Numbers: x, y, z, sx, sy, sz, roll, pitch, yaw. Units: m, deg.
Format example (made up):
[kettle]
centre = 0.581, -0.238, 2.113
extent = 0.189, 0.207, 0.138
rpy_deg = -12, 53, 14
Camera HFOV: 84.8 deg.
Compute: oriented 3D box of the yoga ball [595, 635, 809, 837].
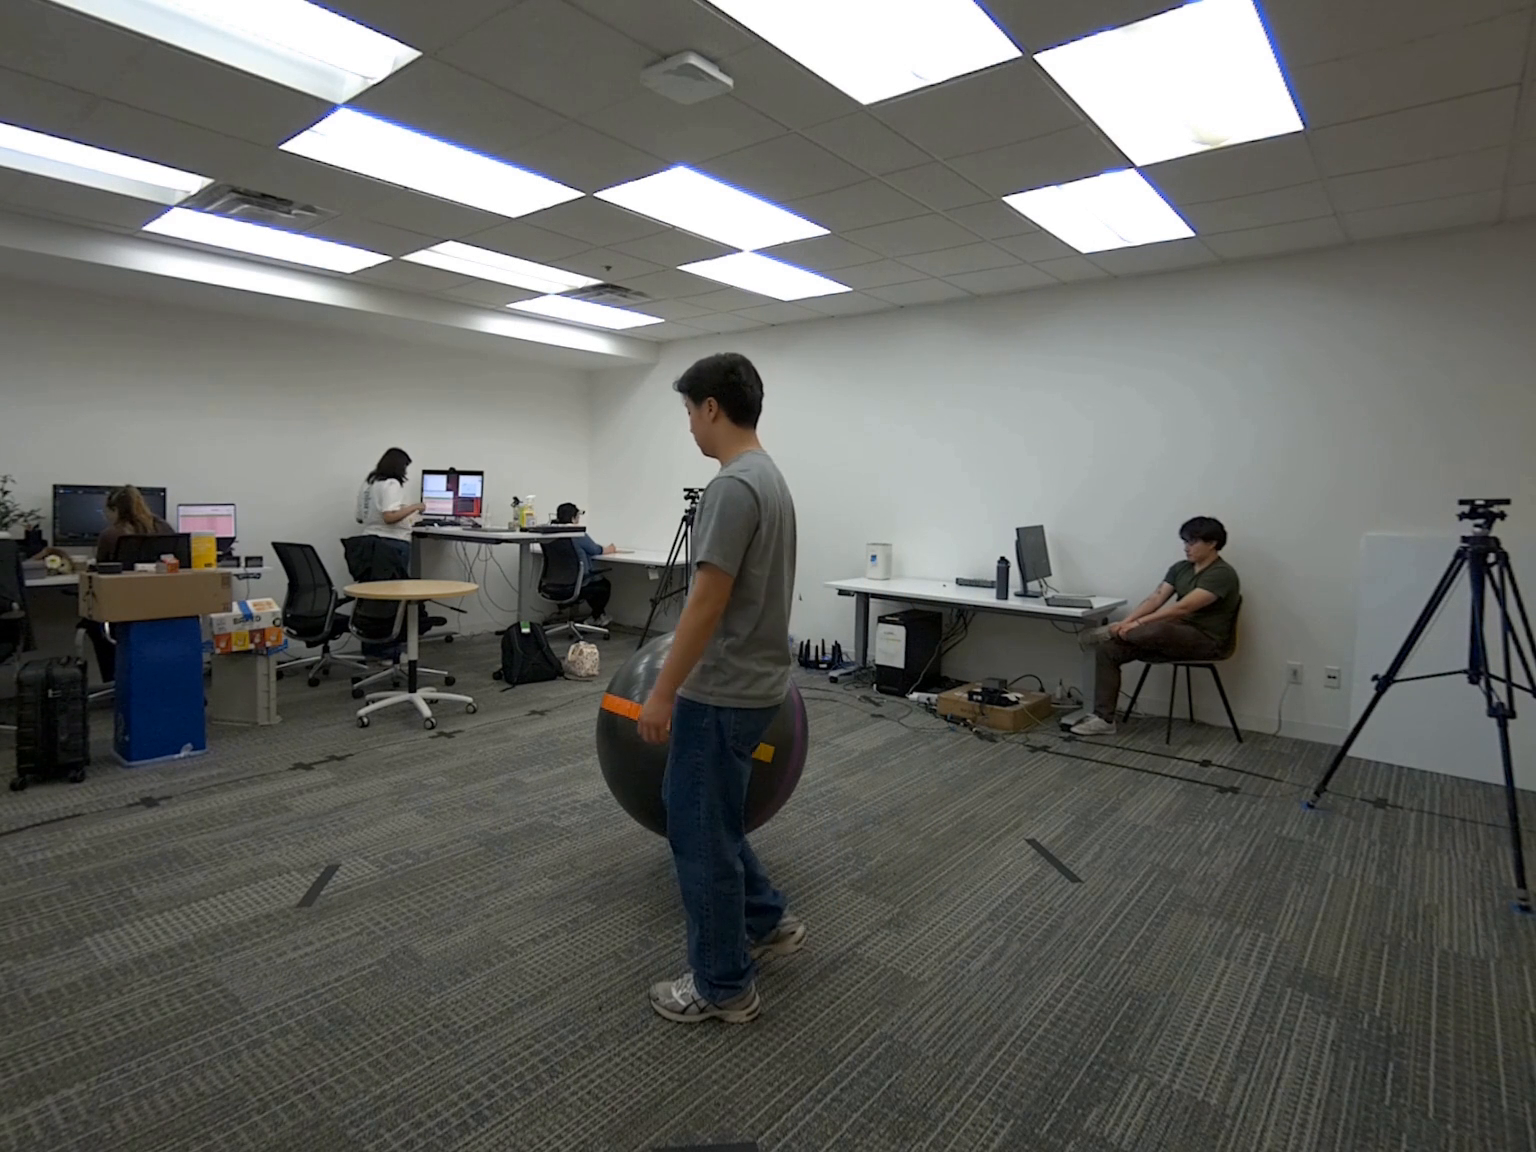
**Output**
[yoga ball]
centre = -0.247, 0.560, 3.065
extent = 0.757, 0.755, 0.762
rpy_deg = 1, 4, -2
